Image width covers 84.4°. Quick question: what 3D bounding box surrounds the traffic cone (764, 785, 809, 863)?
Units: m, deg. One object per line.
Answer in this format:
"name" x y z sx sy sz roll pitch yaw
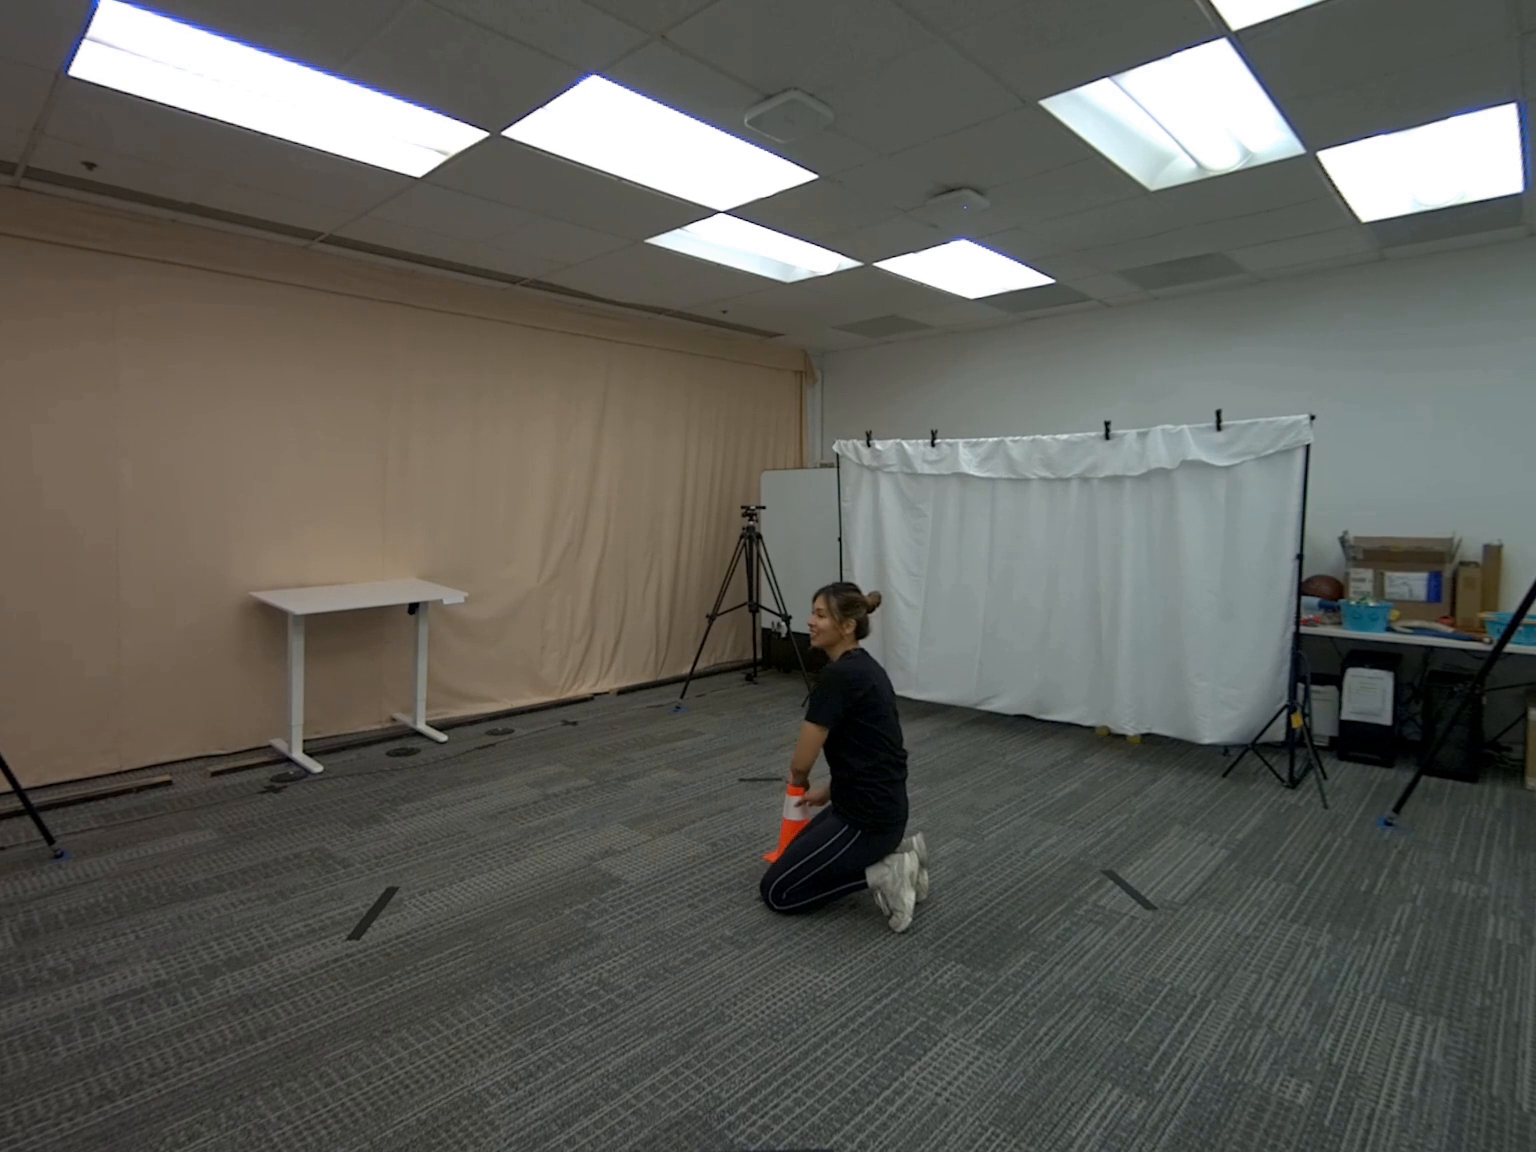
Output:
"traffic cone" 0.107 0.926 3.318 0.210 0.383 0.199 1 4 40
